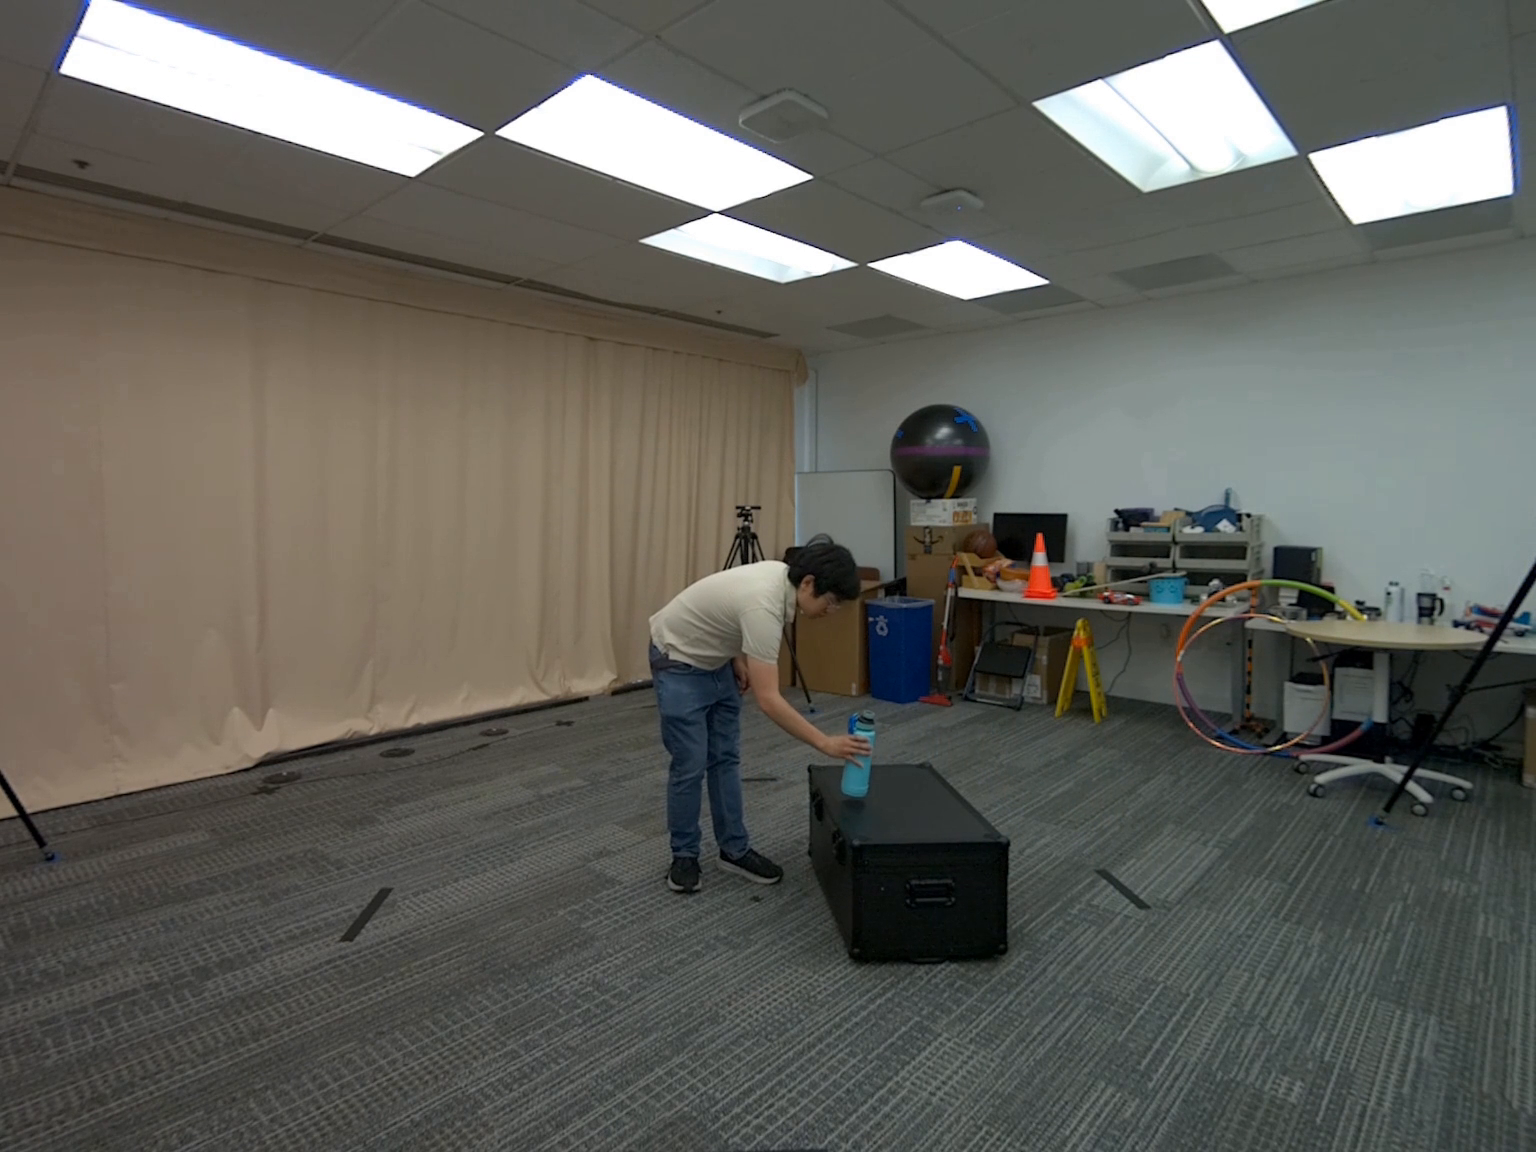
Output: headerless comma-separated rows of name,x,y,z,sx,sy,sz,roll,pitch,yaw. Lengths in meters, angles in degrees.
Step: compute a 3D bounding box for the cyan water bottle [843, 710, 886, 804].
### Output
cyan water bottle,0.323,0.612,2.873,0.092,0.282,0.093,6,8,-3
